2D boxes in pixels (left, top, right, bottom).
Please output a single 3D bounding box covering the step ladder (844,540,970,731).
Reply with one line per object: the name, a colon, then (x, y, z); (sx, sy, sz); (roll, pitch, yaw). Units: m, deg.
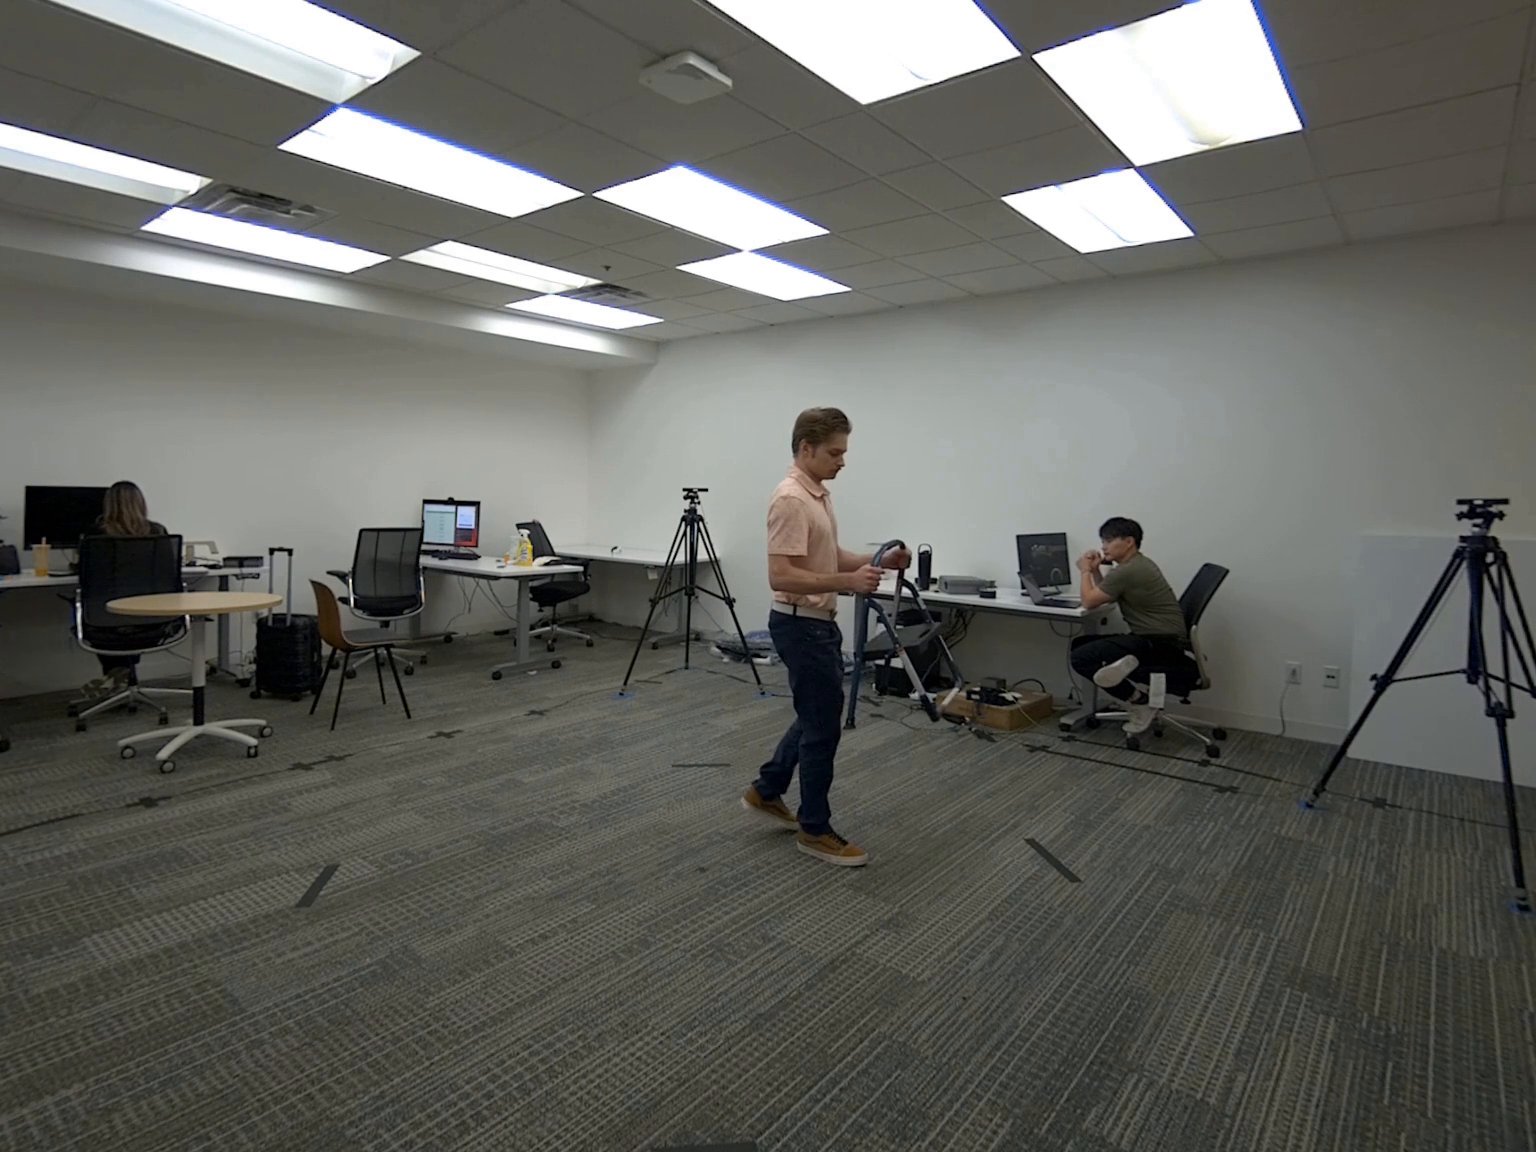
step ladder: (0.425, 0.187, 3.097); (0.356, 0.604, 0.423); (-12, 3, 27)
